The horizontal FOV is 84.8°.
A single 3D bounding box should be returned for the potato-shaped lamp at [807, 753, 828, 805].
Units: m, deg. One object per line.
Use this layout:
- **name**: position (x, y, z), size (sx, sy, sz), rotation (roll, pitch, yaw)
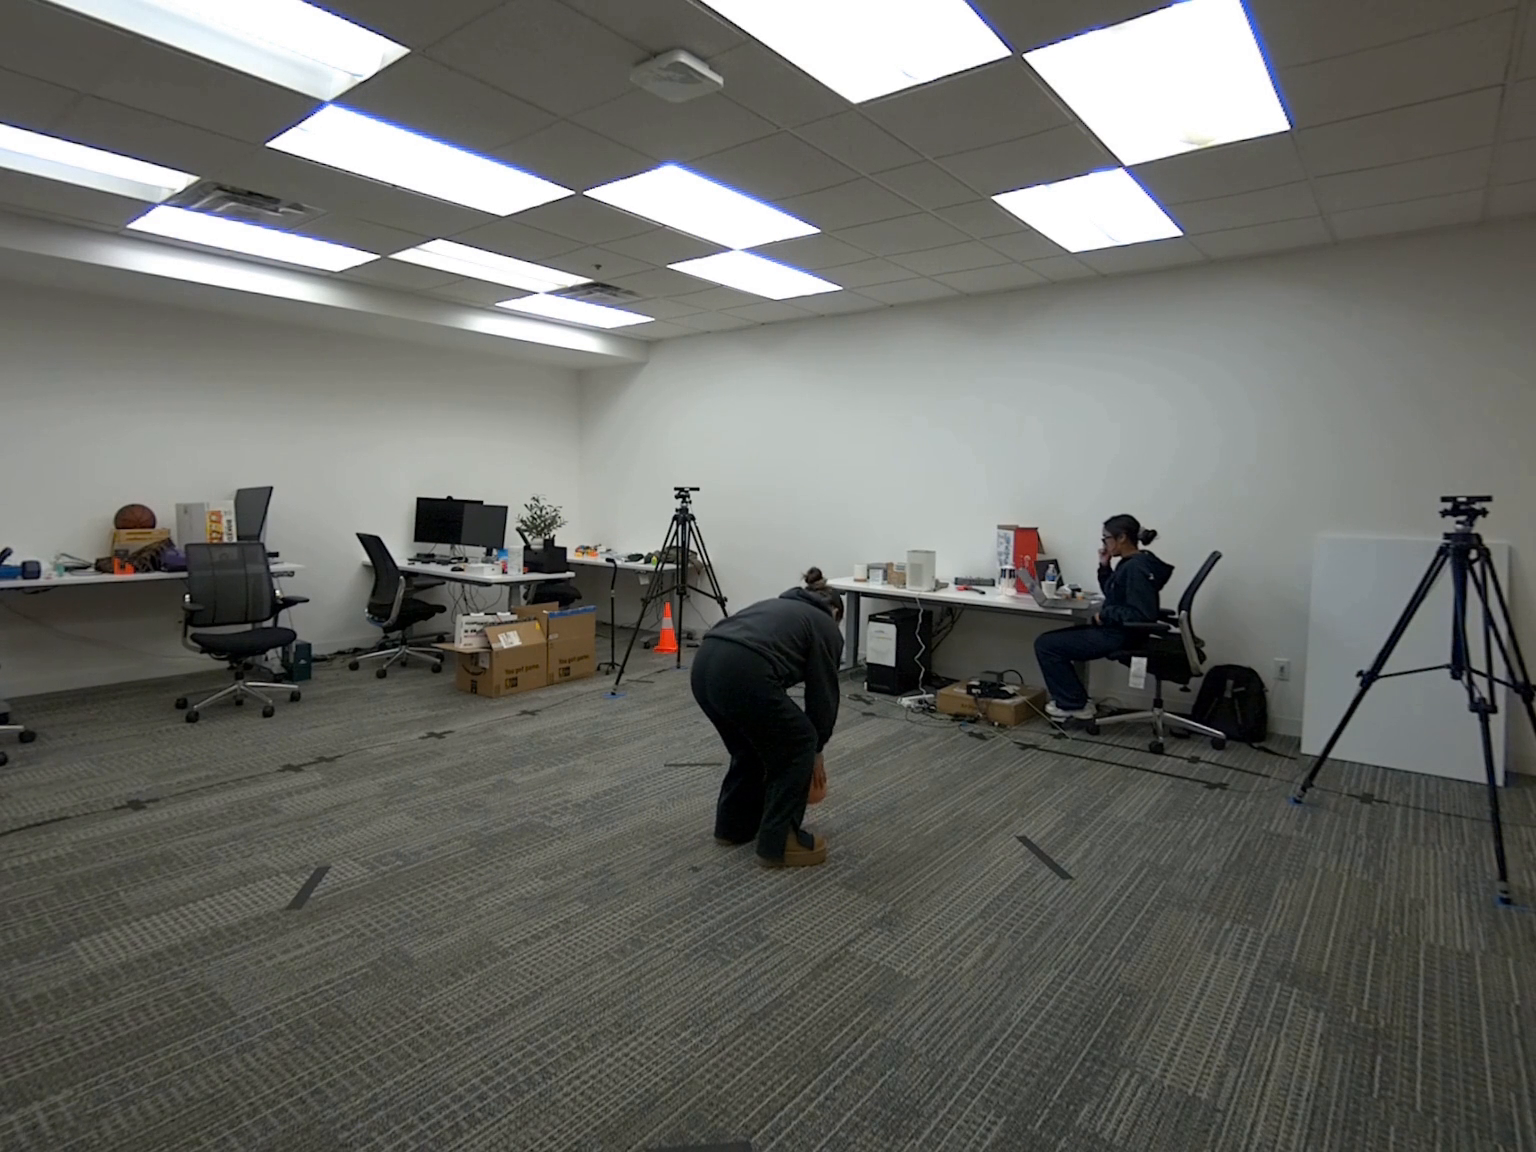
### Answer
- **potato-shaped lamp**: position (0.158, 0.832, 3.495), size (0.170, 0.197, 0.167), rotation (2, 6, 33)
